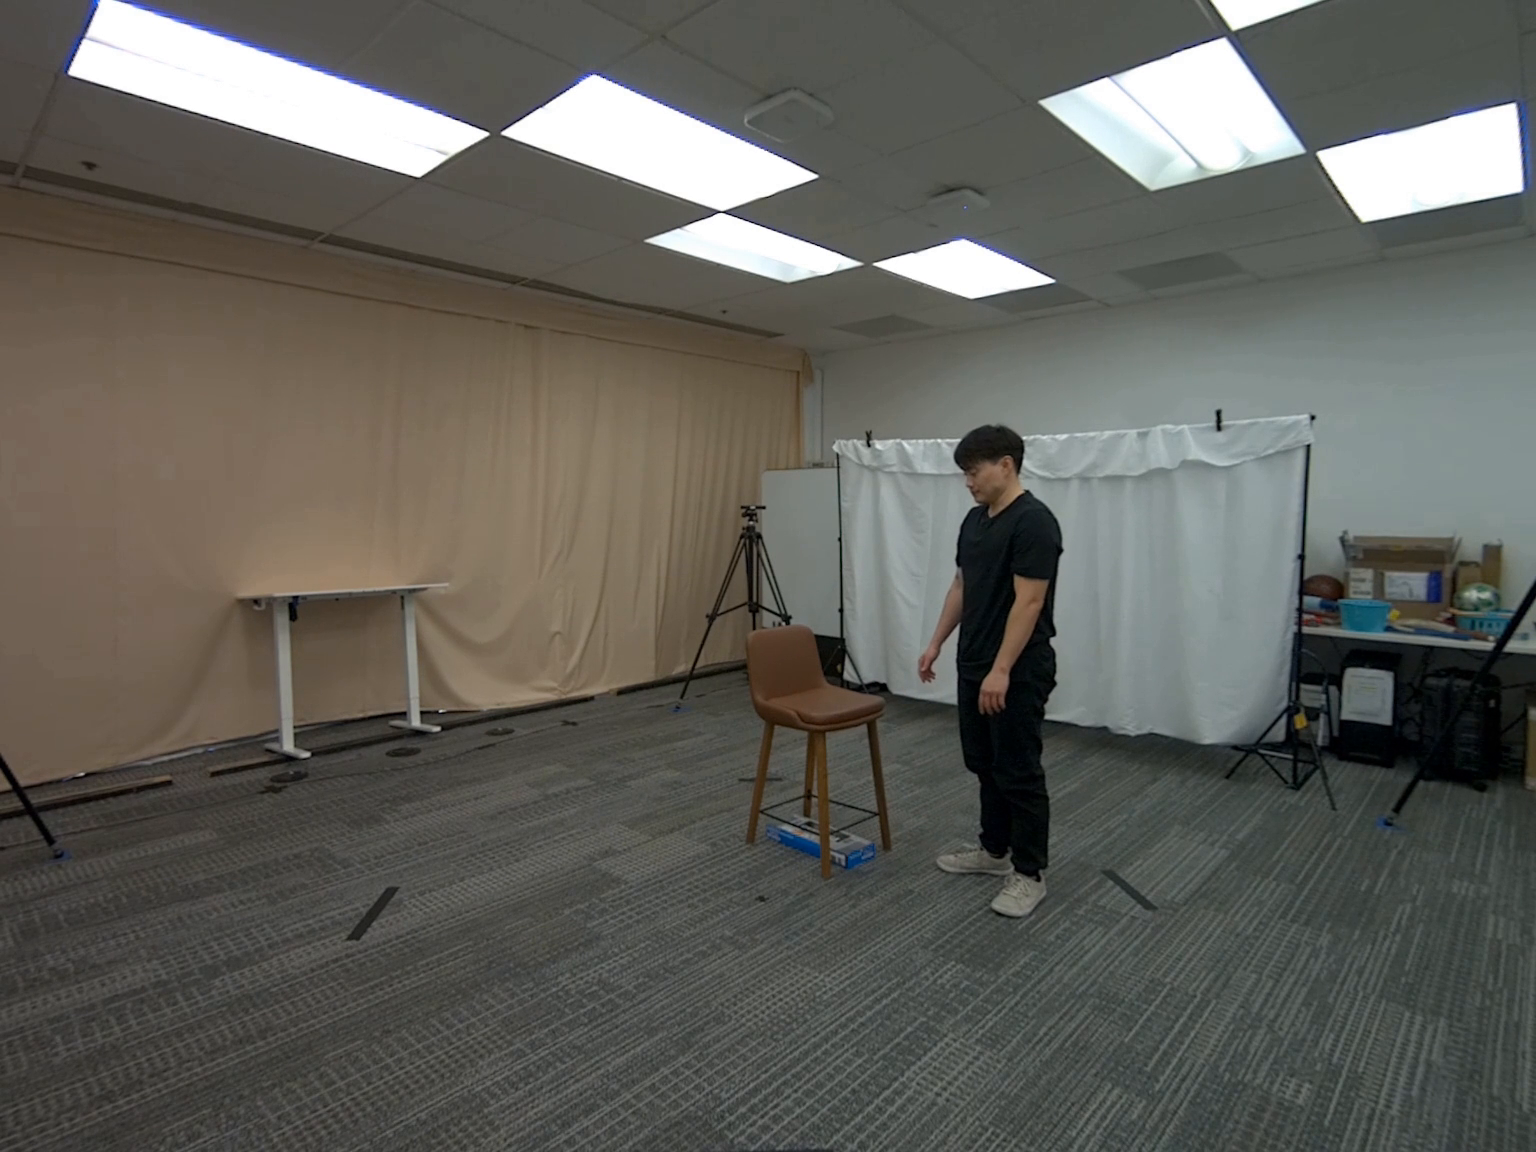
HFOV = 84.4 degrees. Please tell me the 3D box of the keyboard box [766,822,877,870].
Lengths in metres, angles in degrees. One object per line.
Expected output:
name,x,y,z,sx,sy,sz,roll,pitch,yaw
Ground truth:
keyboard box,0.214,1.084,3.440,0.170,0.059,0.451,-4,6,-43
